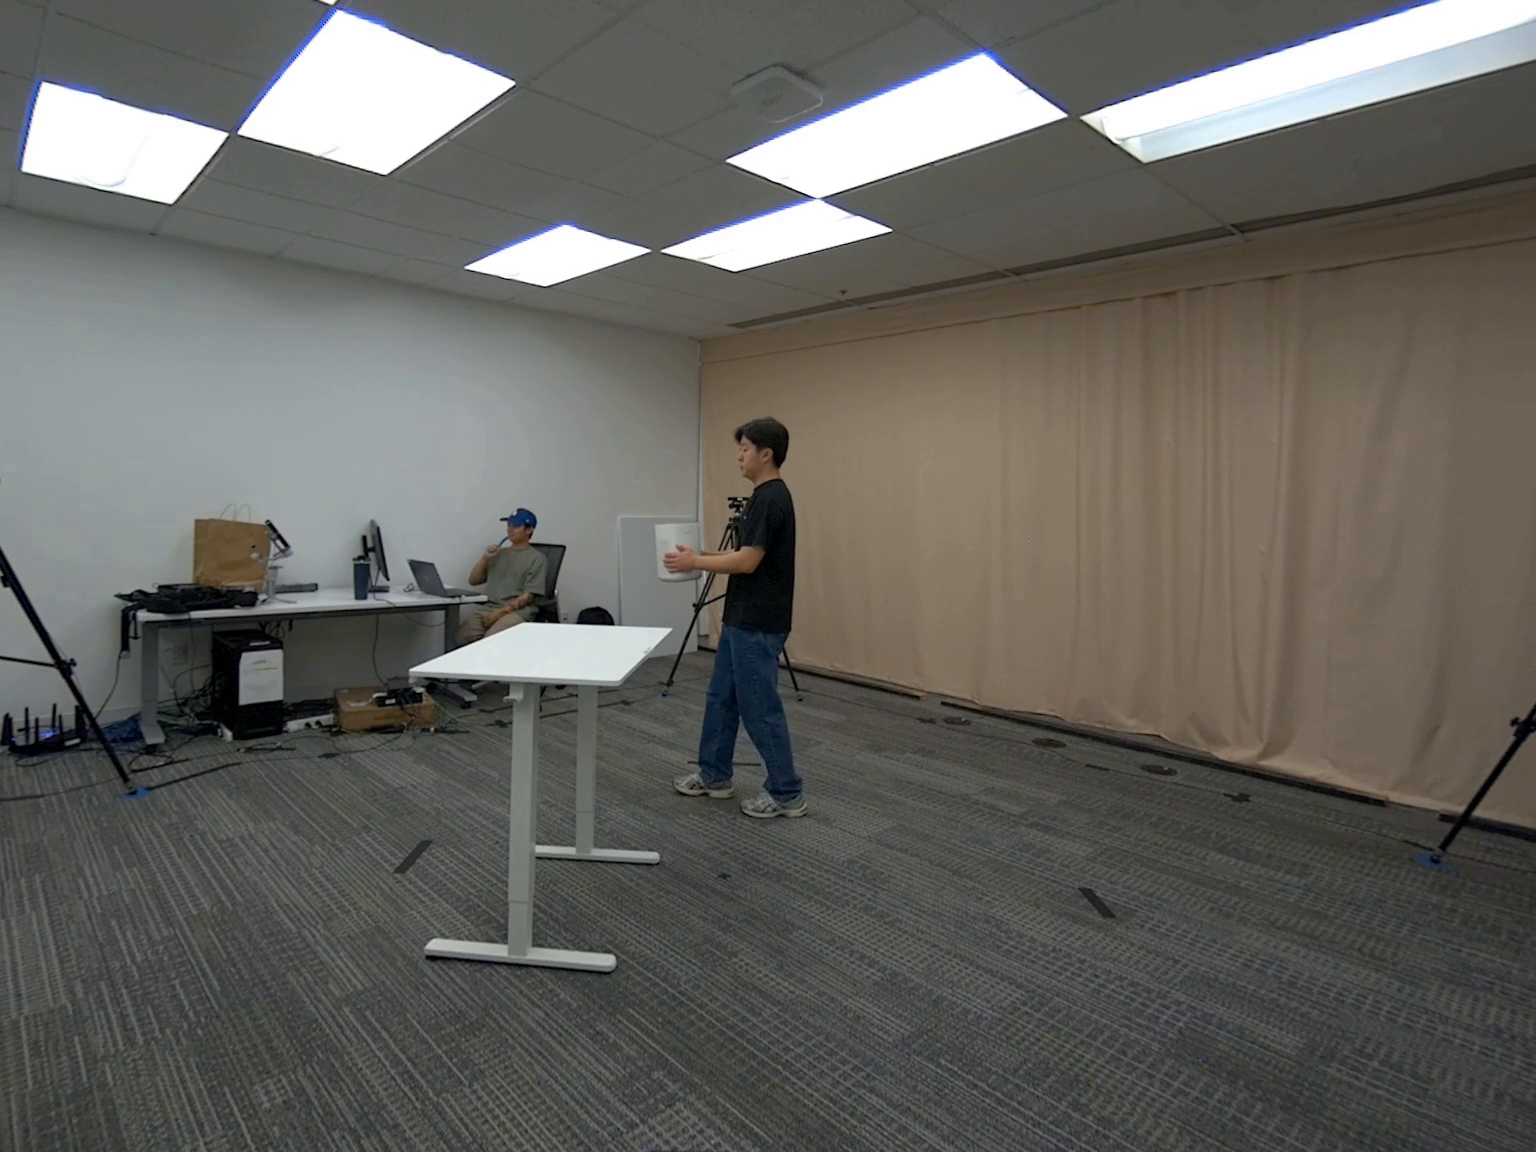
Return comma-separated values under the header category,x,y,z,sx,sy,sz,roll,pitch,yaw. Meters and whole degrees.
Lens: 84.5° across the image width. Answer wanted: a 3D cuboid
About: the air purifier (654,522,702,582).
category,x,y,z,sx,sy,sz,roll,pitch,yaw
air purifier,-0.404,-0.113,3.785,0.167,0.265,0.175,-5,3,-39
